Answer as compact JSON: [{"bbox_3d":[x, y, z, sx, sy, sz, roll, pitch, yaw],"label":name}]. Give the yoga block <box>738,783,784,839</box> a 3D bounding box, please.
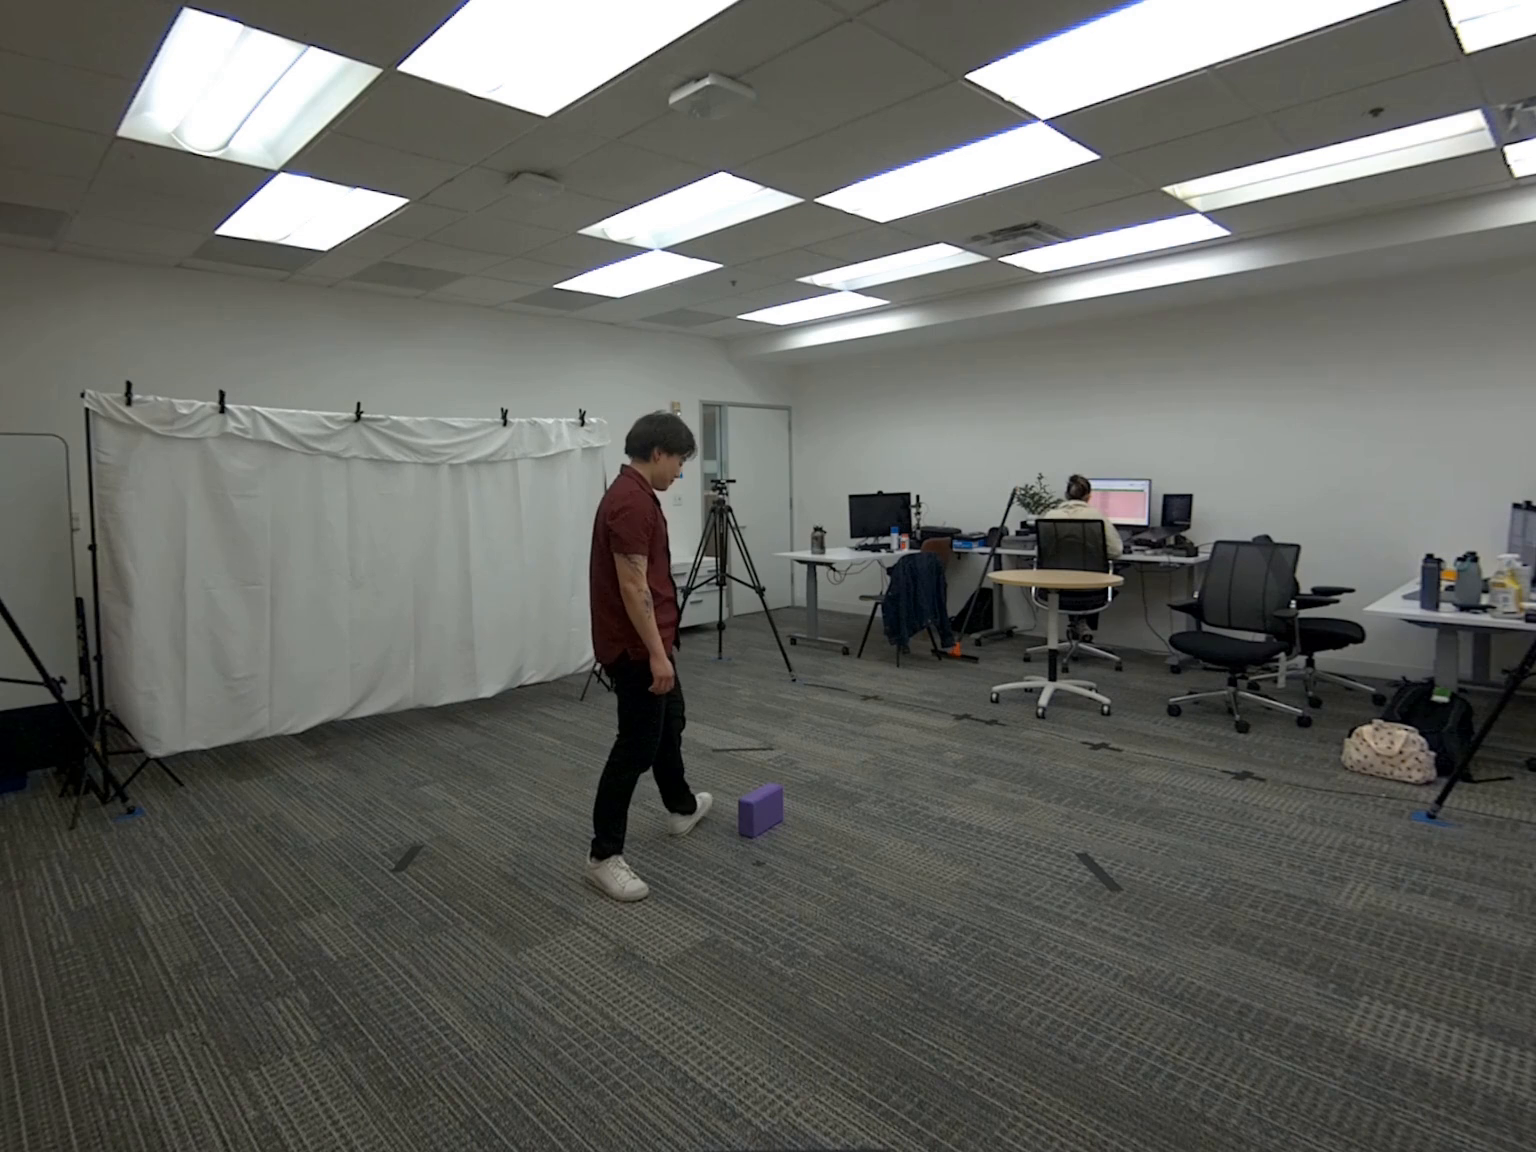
[{"bbox_3d":[-0.026,0.934,3.428,0.078,0.148,0.224,2,6,34],"label":"yoga block"}]
